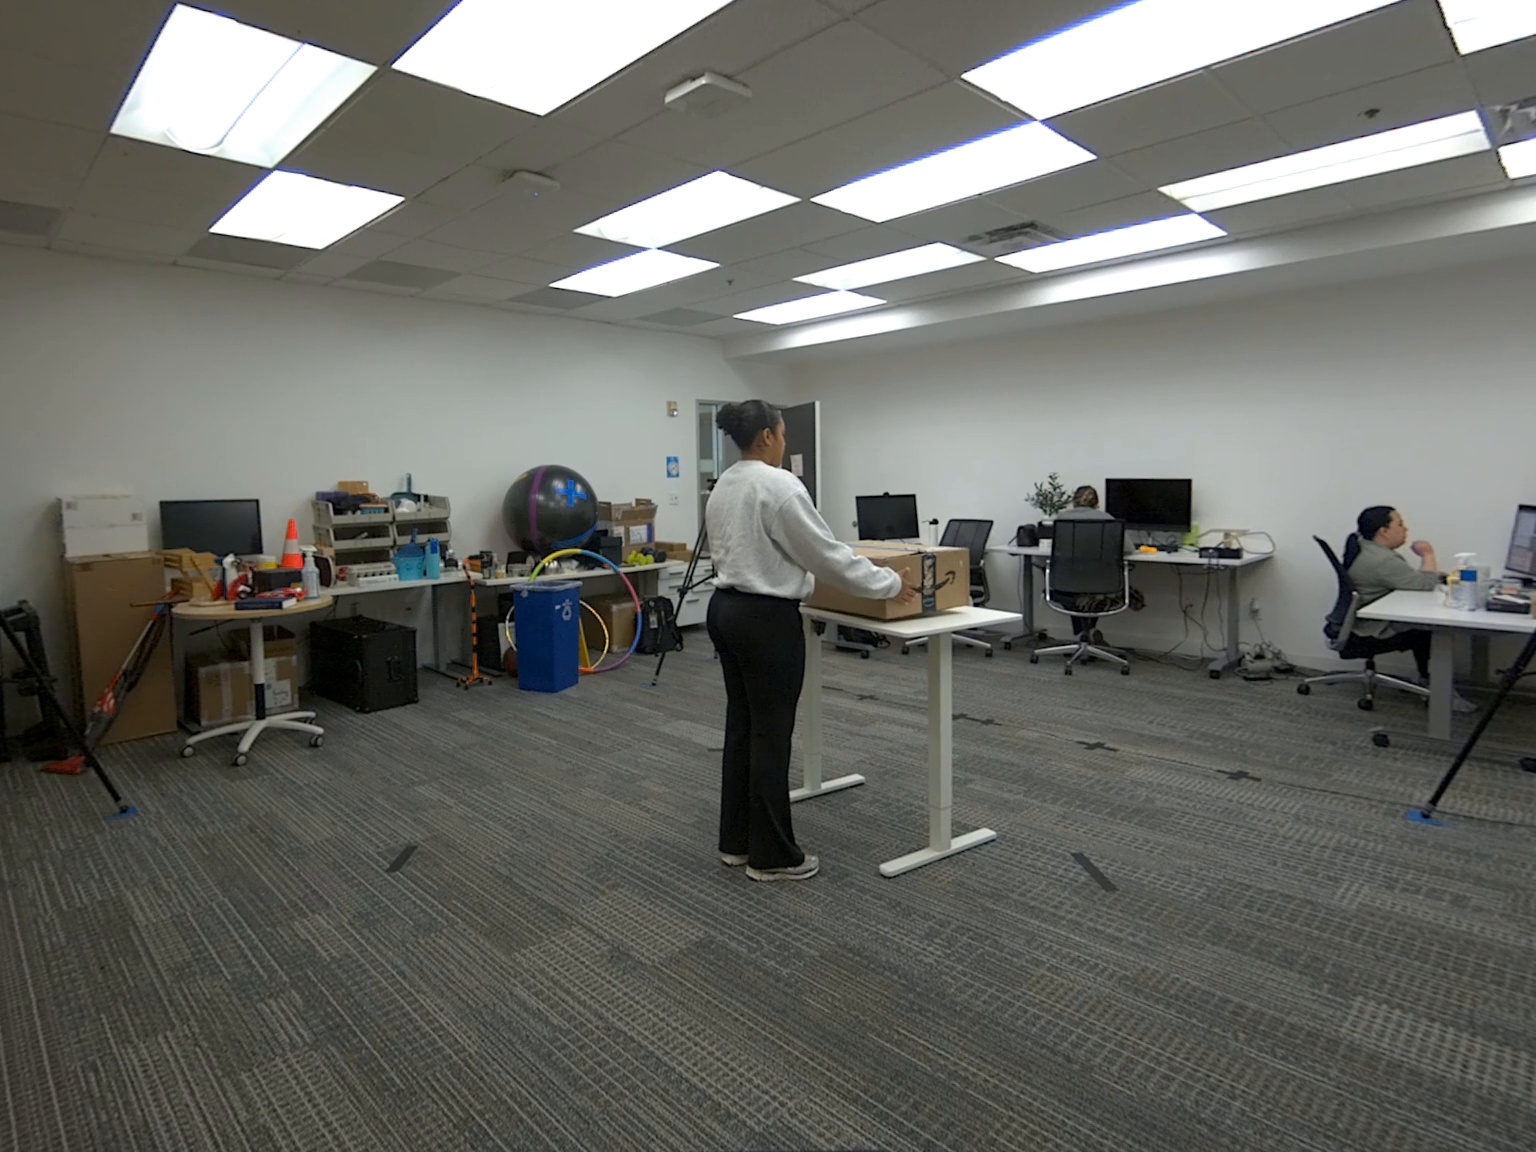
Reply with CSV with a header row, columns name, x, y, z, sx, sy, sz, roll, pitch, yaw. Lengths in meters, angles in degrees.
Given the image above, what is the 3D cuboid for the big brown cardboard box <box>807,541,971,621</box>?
name,x,y,z,sx,sy,sz,roll,pitch,yaw
big brown cardboard box,0.425,0.001,3.324,0.408,0.232,0.605,-7,7,-32
